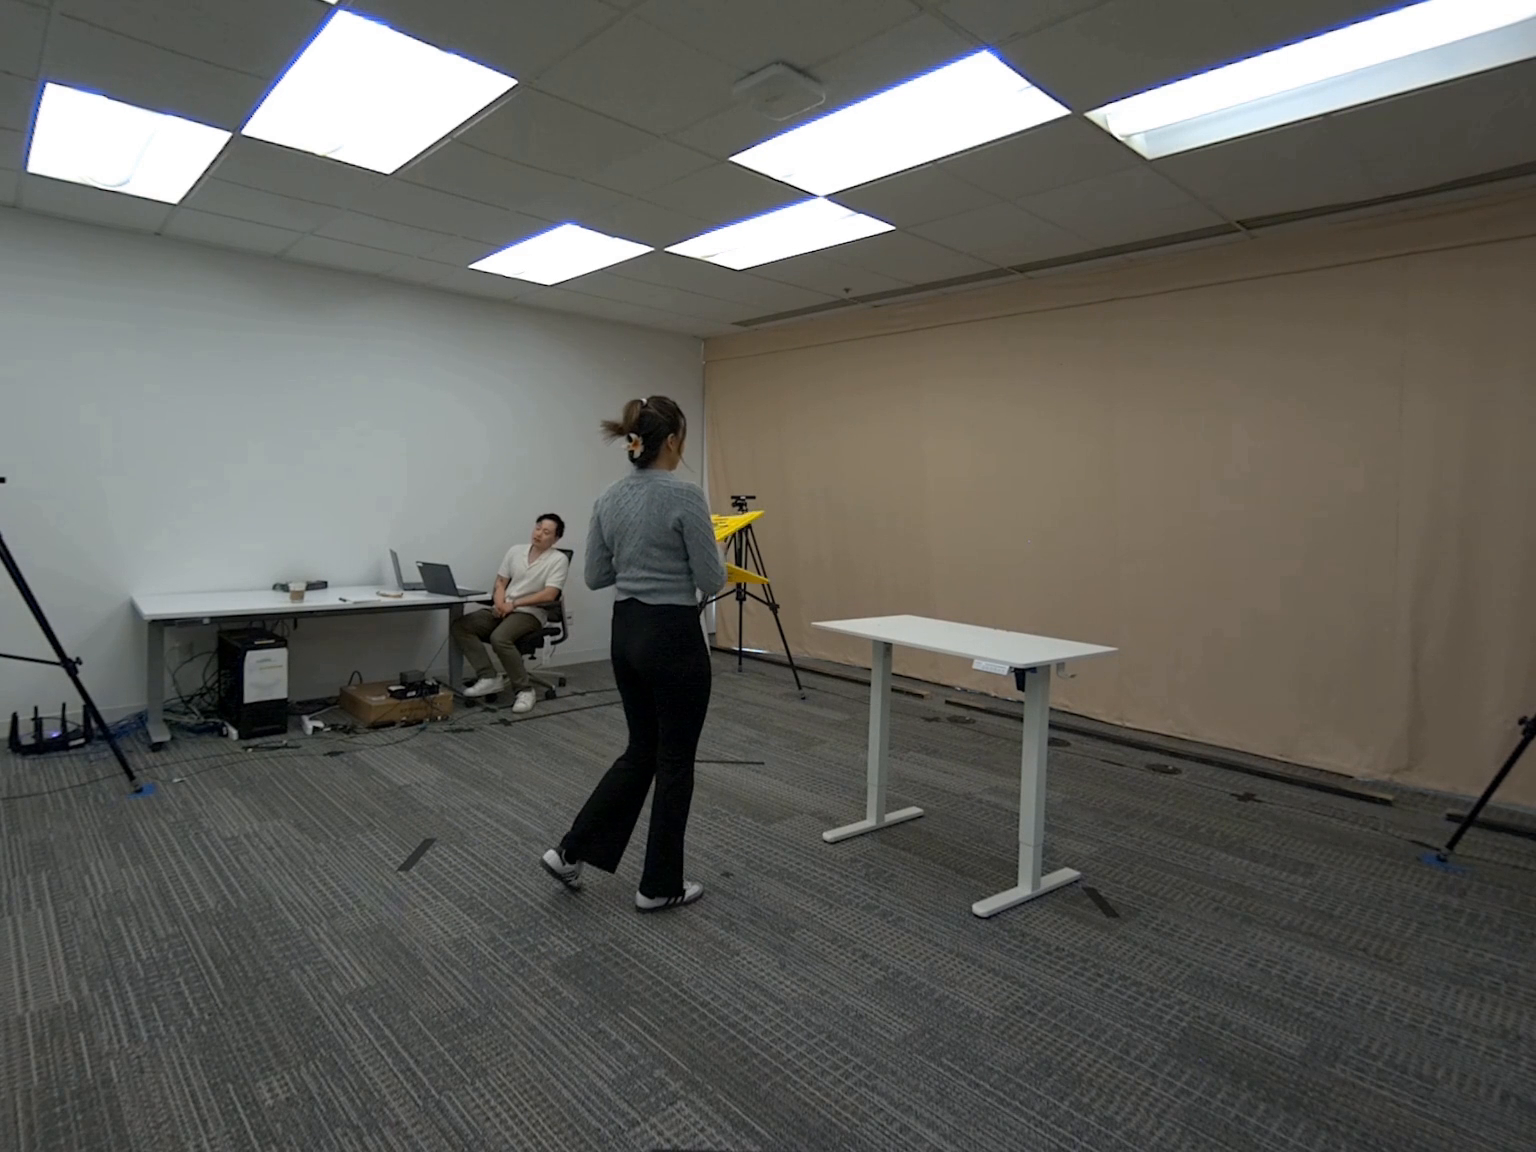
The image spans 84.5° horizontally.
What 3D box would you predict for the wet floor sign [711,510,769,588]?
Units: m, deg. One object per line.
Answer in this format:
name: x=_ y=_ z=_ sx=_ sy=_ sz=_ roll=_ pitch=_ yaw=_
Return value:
wet floor sign: x=-0.248 y=-0.093 z=3.256 sx=0.286 sy=0.289 sz=0.637 roll=-4 pitch=2 yaw=19
